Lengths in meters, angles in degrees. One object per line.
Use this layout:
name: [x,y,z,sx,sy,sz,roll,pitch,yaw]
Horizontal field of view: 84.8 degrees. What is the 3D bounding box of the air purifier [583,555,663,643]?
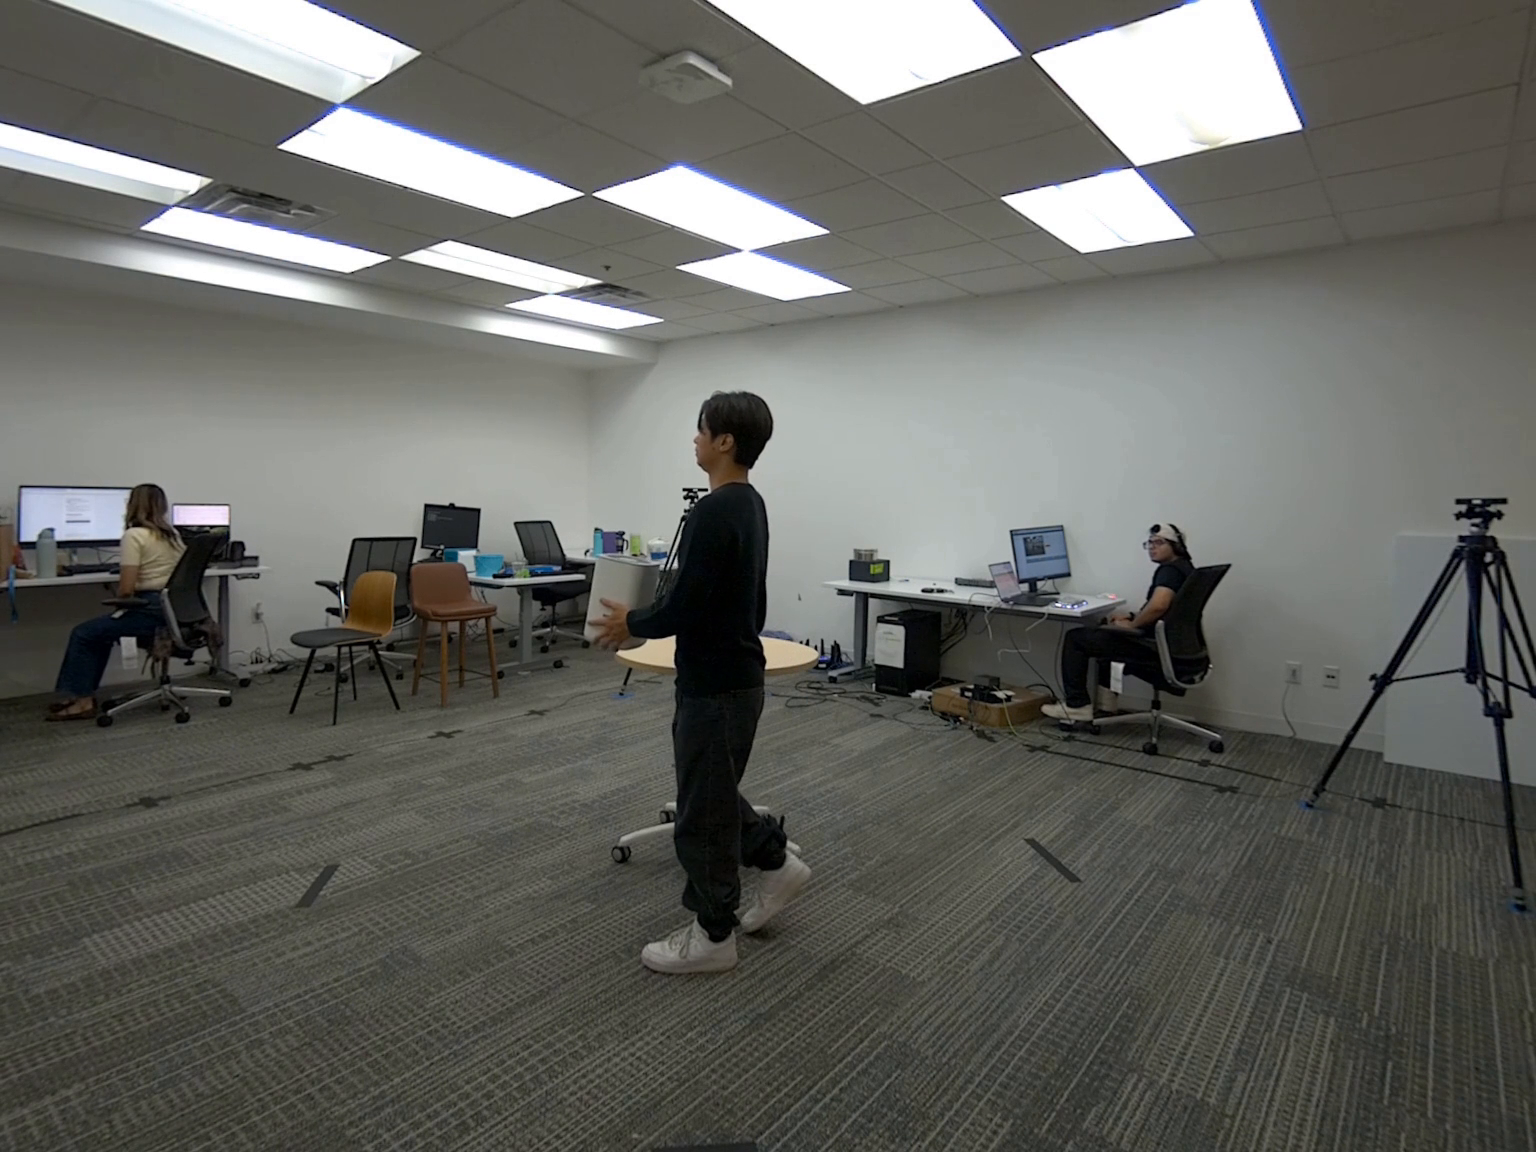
air purifier: [-0.446,0.076,2.587,0.175,0.265,0.168,11,4,17]
